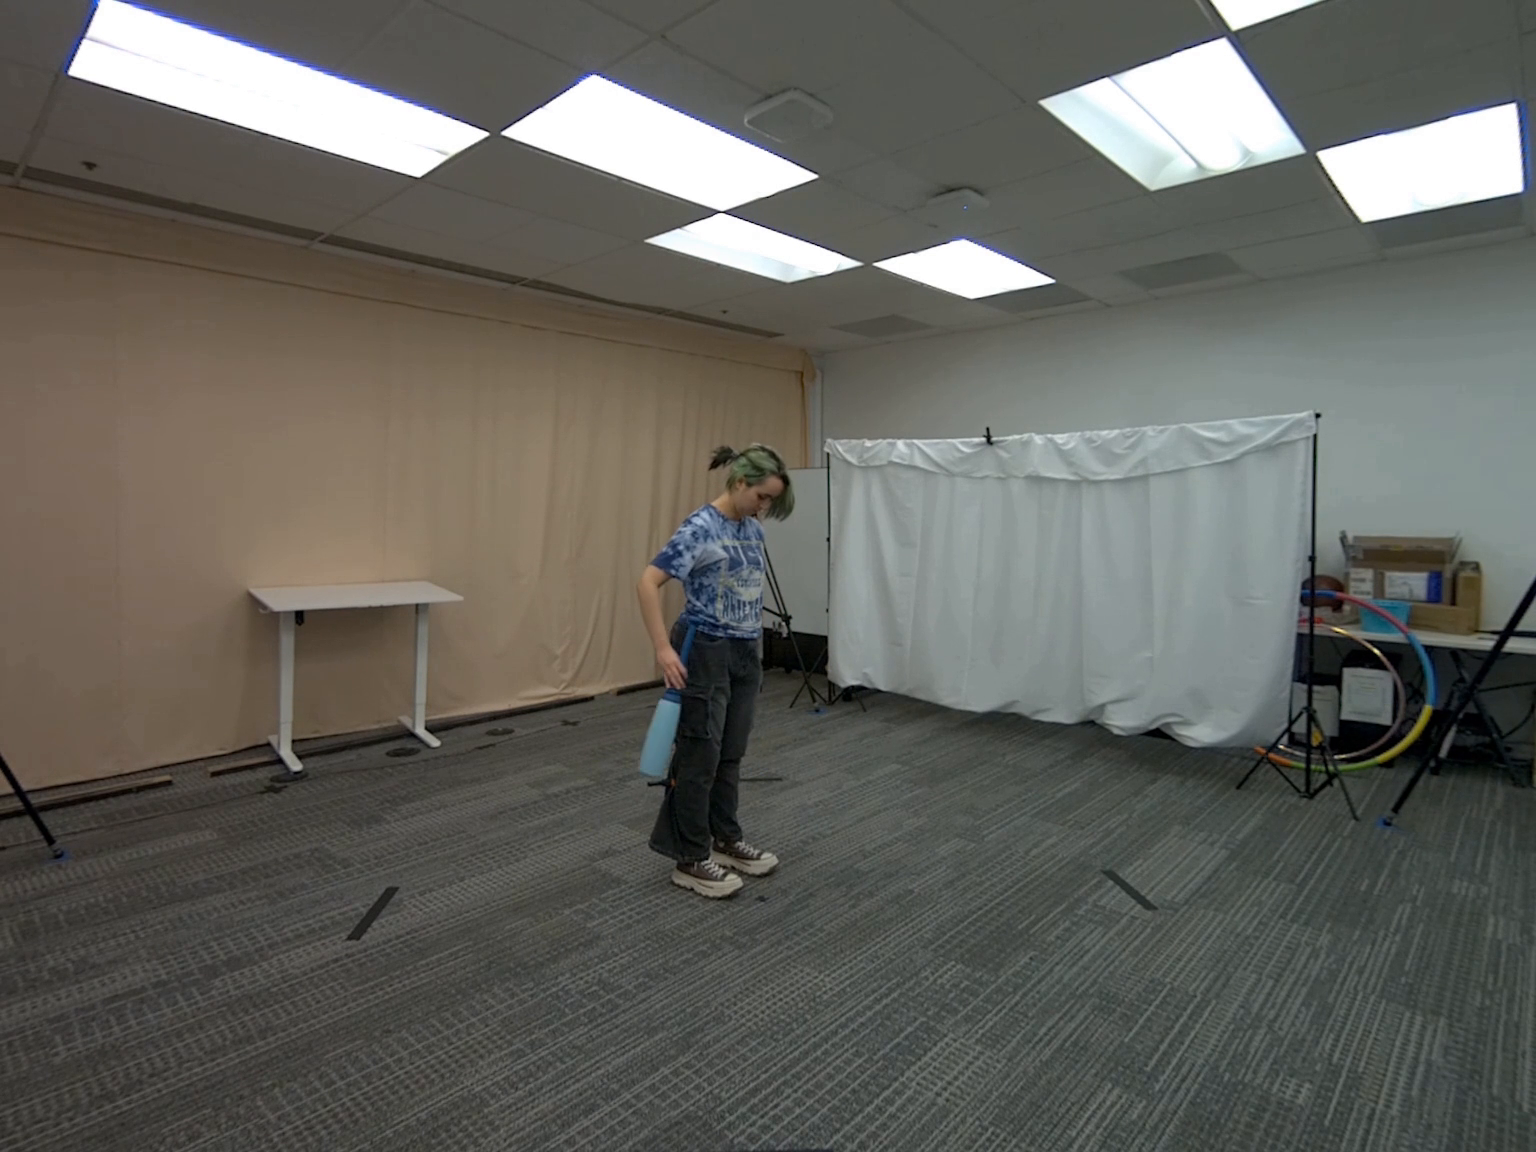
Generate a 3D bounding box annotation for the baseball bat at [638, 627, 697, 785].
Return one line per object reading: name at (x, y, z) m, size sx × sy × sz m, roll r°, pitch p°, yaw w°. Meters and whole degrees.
baseball bat at (-0.307, 0.393, 2.811) m, size 0.089 × 0.544 × 0.088 m, roll 15°, pitch -9°, yaw 0°
